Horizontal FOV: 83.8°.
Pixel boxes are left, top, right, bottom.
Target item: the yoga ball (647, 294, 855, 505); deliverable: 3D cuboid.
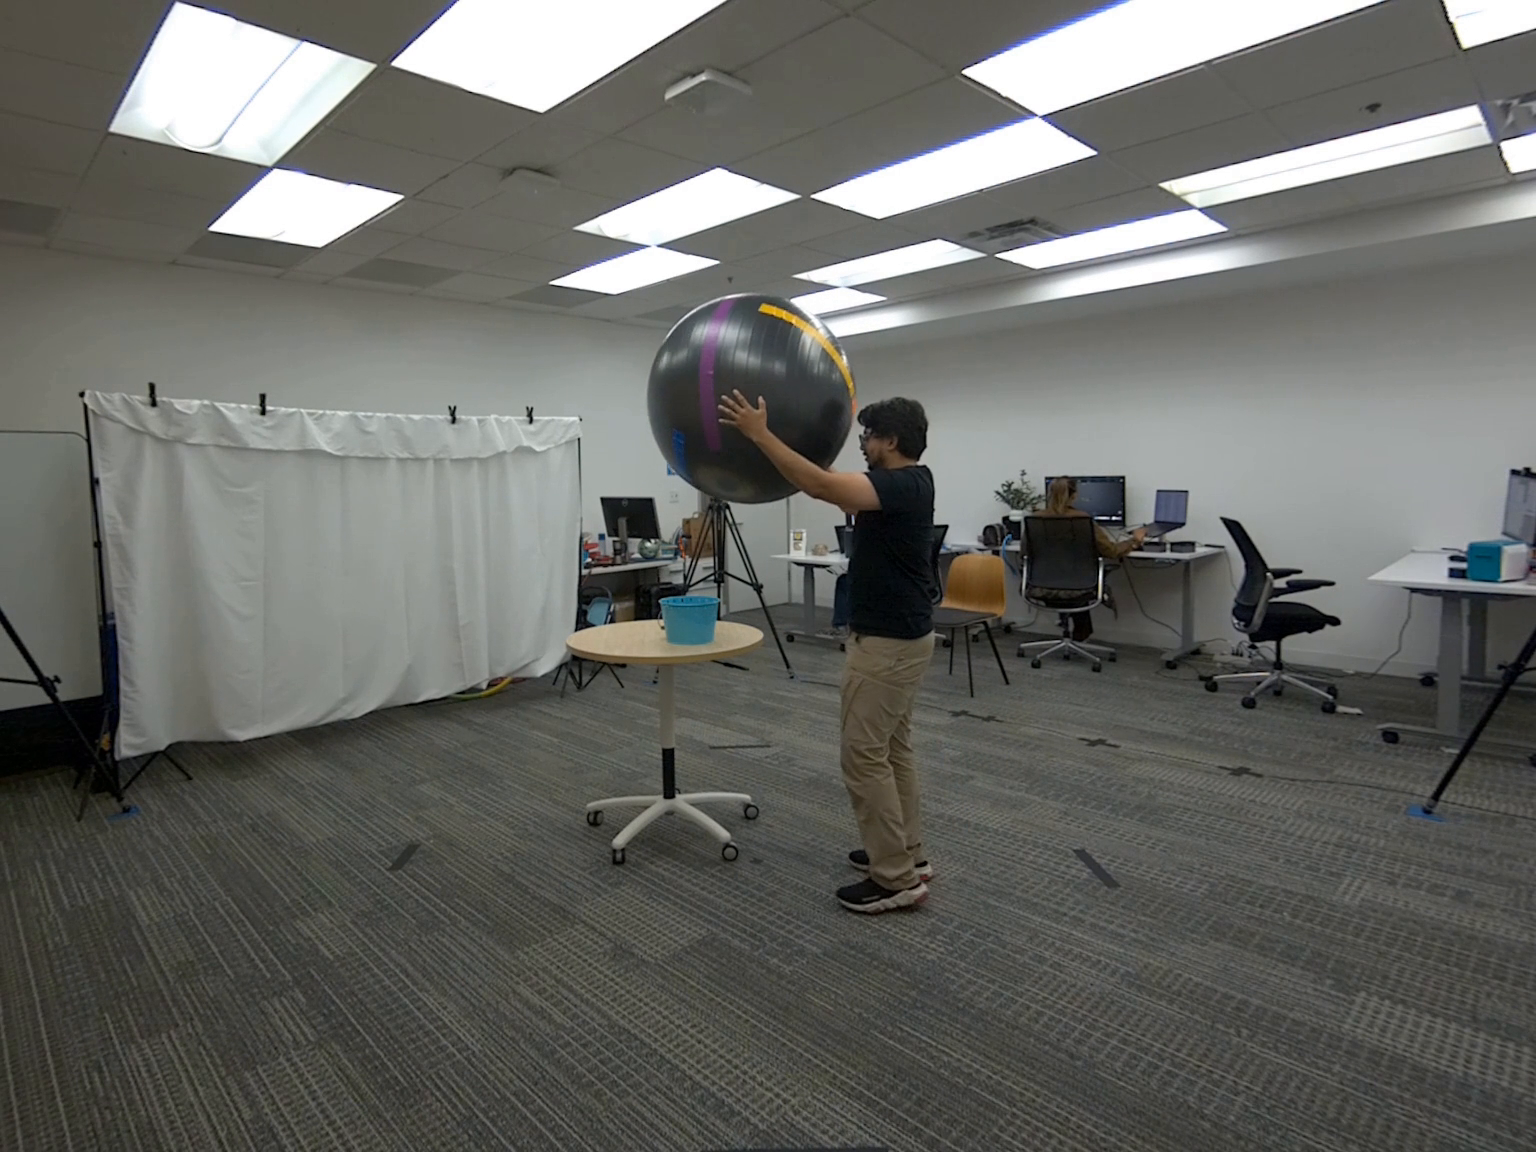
[{"bbox_3d":[-0.061,-0.638,3.118,0.757,0.755,0.762,-1,5,-2],"label":"yoga ball"}]
